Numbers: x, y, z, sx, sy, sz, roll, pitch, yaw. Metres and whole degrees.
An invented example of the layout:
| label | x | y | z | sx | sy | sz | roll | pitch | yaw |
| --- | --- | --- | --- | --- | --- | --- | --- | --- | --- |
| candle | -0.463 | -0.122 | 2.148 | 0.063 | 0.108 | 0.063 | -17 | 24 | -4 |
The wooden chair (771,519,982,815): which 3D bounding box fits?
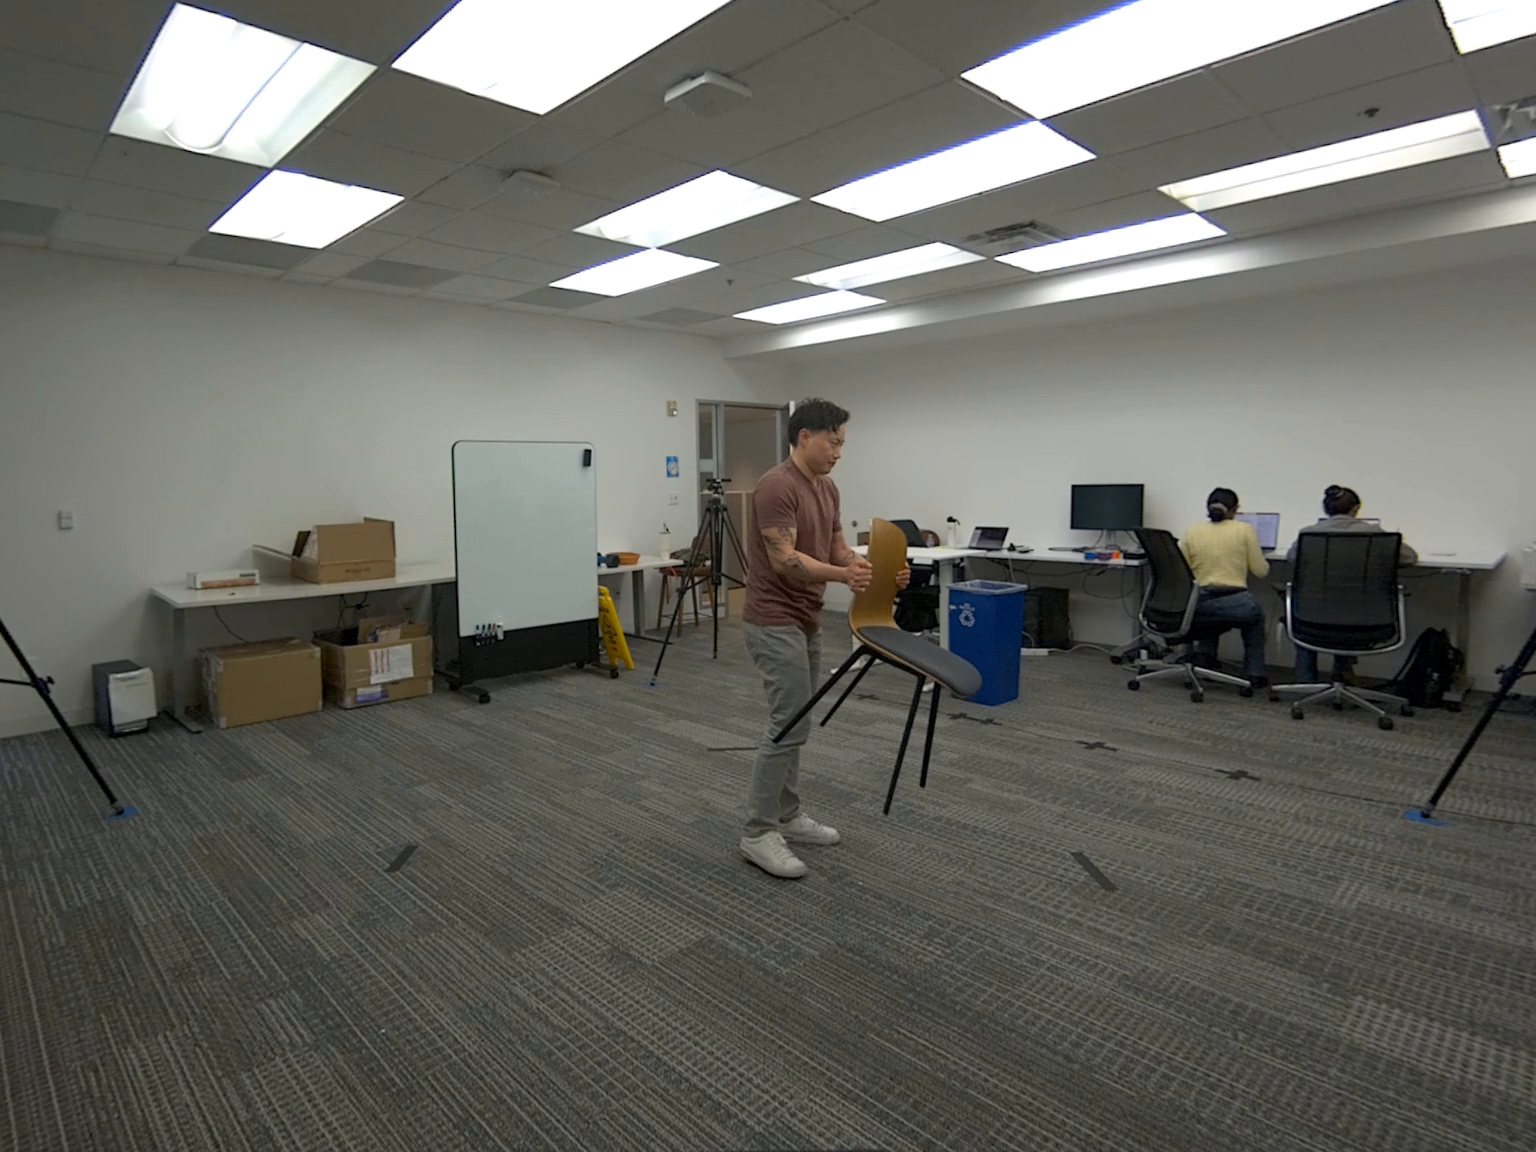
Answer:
| label | x | y | z | sx | sy | sz | roll | pitch | yaw |
| --- | --- | --- | --- | --- | --- | --- | --- | --- | --- |
| wooden chair | 0.470 | 0.301 | 2.971 | 0.539 | 0.874 | 0.465 | 23 | 7 | 27 |
